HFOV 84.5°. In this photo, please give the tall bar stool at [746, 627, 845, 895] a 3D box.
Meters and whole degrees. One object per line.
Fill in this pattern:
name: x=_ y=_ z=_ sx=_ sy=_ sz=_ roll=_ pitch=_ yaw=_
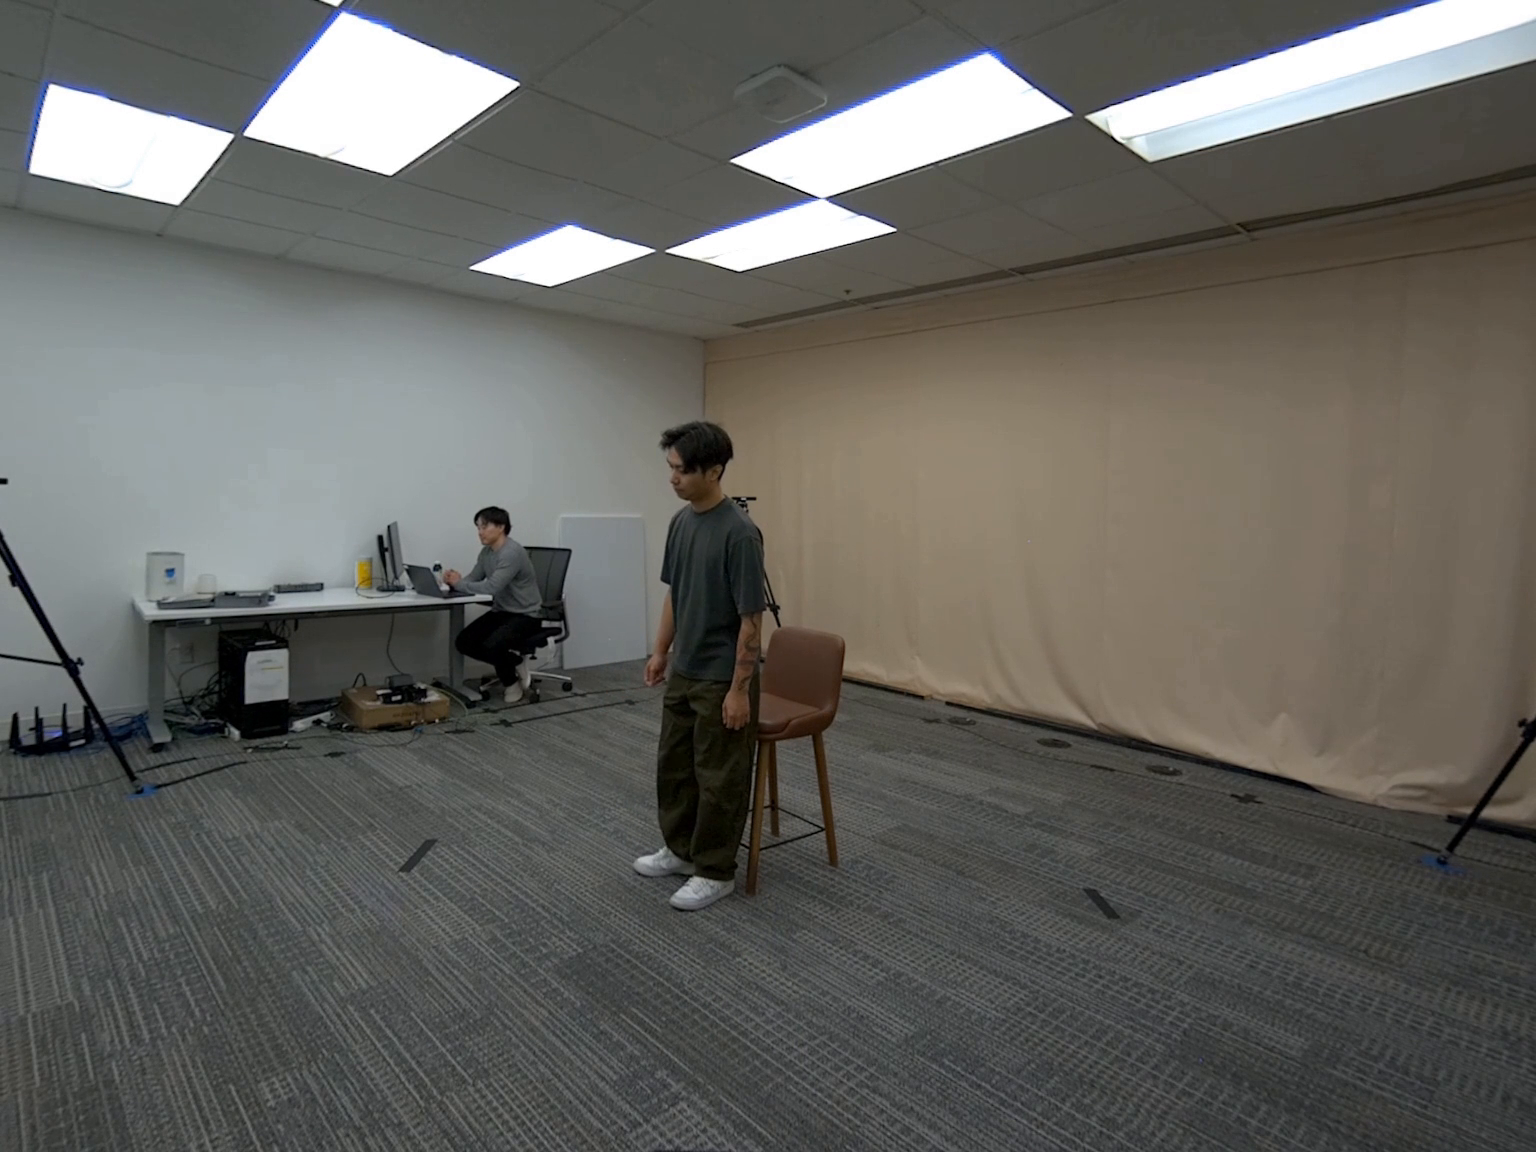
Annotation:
tall bar stool: x=-0.014 y=0.658 z=3.218 sx=0.457 sy=0.888 sz=0.468 roll=1 pitch=2 yaw=-38
